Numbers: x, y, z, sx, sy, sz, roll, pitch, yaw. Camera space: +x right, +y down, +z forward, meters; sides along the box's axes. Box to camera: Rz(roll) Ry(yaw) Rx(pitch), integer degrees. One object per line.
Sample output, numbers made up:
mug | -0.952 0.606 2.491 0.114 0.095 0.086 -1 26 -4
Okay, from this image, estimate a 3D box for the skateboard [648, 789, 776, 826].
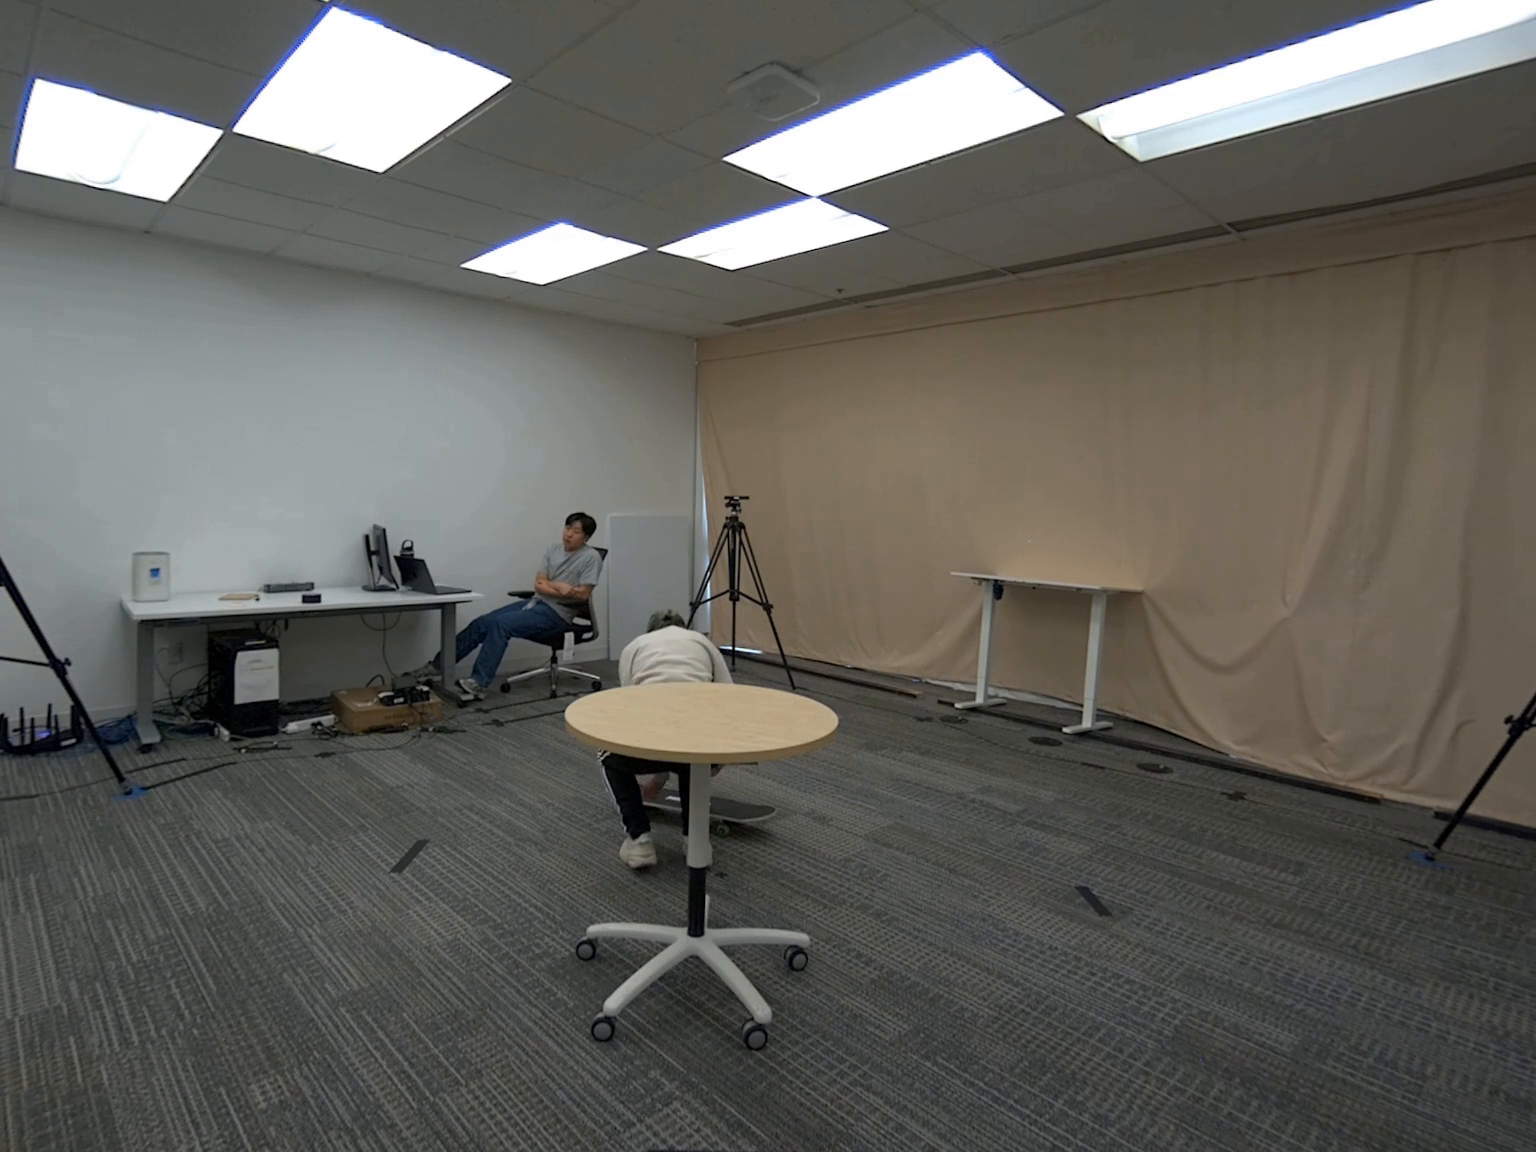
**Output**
skateboard | -0.353 0.996 3.610 0.800 0.110 0.190 4 5 23
